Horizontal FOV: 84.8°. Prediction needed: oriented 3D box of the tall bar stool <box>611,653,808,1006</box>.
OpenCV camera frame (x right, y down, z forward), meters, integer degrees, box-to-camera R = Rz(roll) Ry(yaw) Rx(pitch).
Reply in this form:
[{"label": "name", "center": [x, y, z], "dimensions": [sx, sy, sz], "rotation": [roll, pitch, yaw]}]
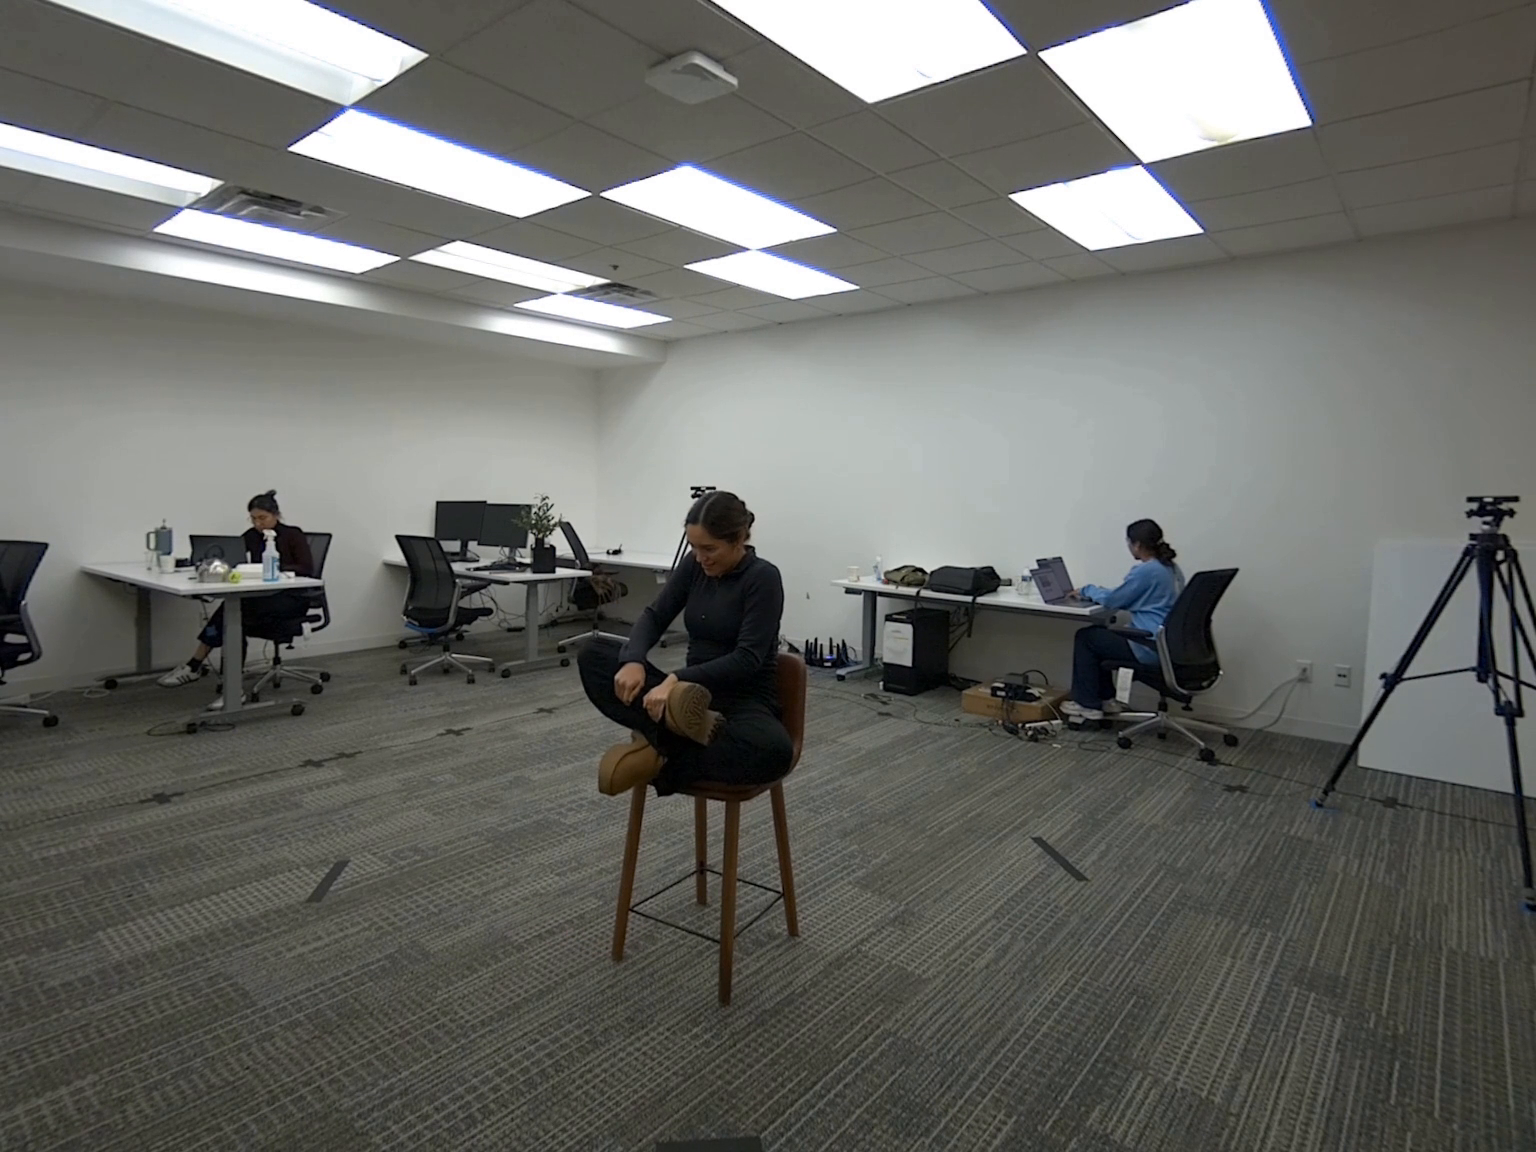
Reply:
[{"label": "tall bar stool", "center": [-0.168, 0.687, 2.557], "dimensions": [0.470, 0.888, 0.454], "rotation": [3, 2, 32]}]
